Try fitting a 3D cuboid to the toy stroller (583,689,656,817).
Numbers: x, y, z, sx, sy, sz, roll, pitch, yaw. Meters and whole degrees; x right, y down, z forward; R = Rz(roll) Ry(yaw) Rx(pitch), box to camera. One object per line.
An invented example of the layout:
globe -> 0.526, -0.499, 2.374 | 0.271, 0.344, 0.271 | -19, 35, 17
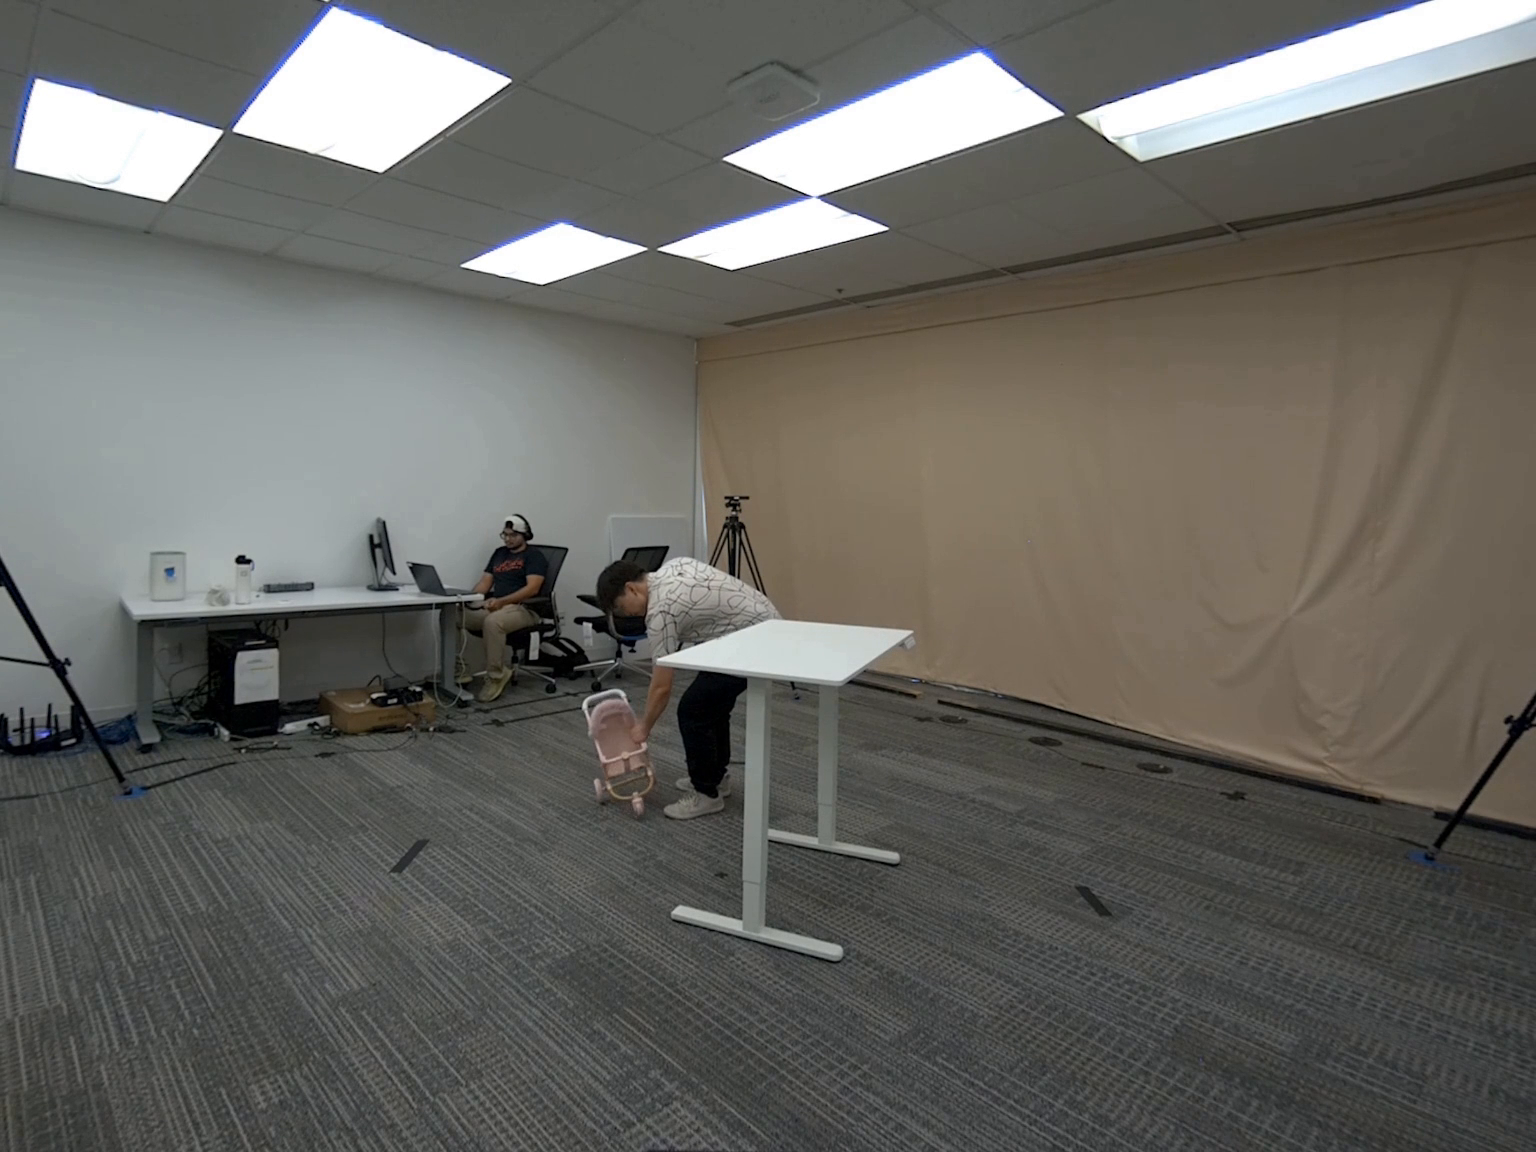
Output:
toy stroller -> -0.667, 0.780, 3.746 | 0.279, 0.537, 0.343 | -13, -4, -15
